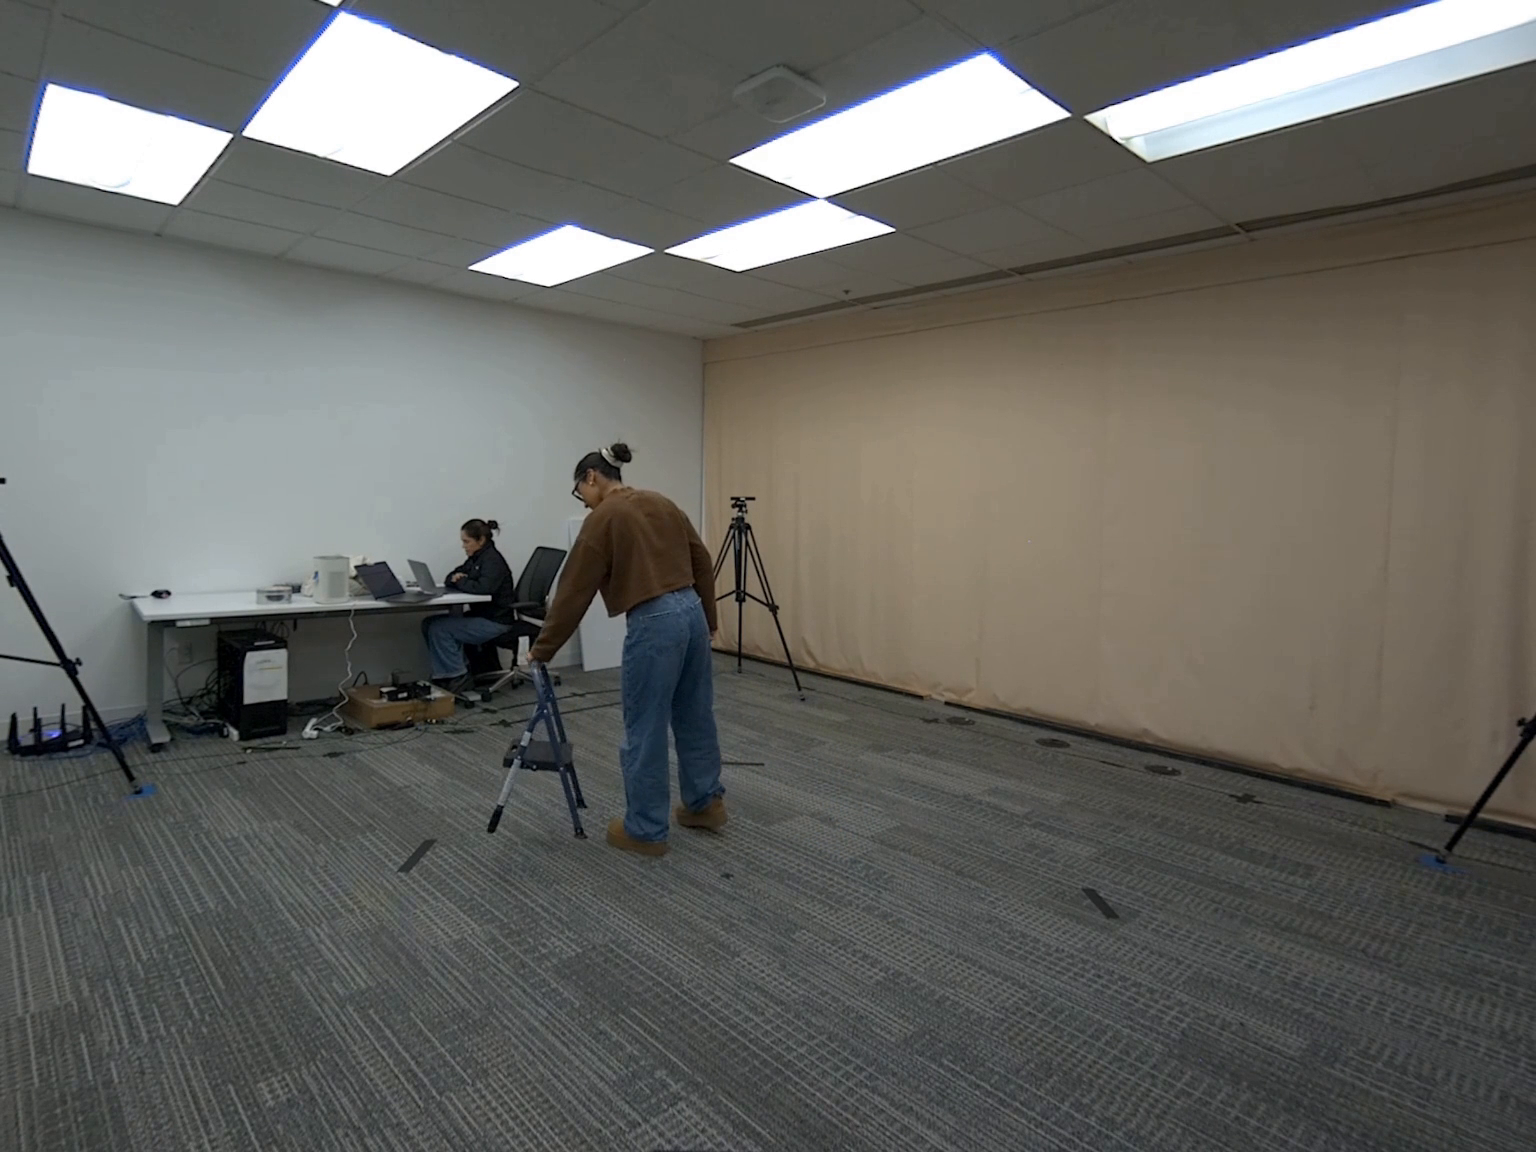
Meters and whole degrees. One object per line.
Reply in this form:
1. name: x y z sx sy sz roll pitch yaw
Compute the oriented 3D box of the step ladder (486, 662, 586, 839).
1. step ladder: -0.850 0.633 3.207 0.346 0.607 0.434 7 -3 -12
